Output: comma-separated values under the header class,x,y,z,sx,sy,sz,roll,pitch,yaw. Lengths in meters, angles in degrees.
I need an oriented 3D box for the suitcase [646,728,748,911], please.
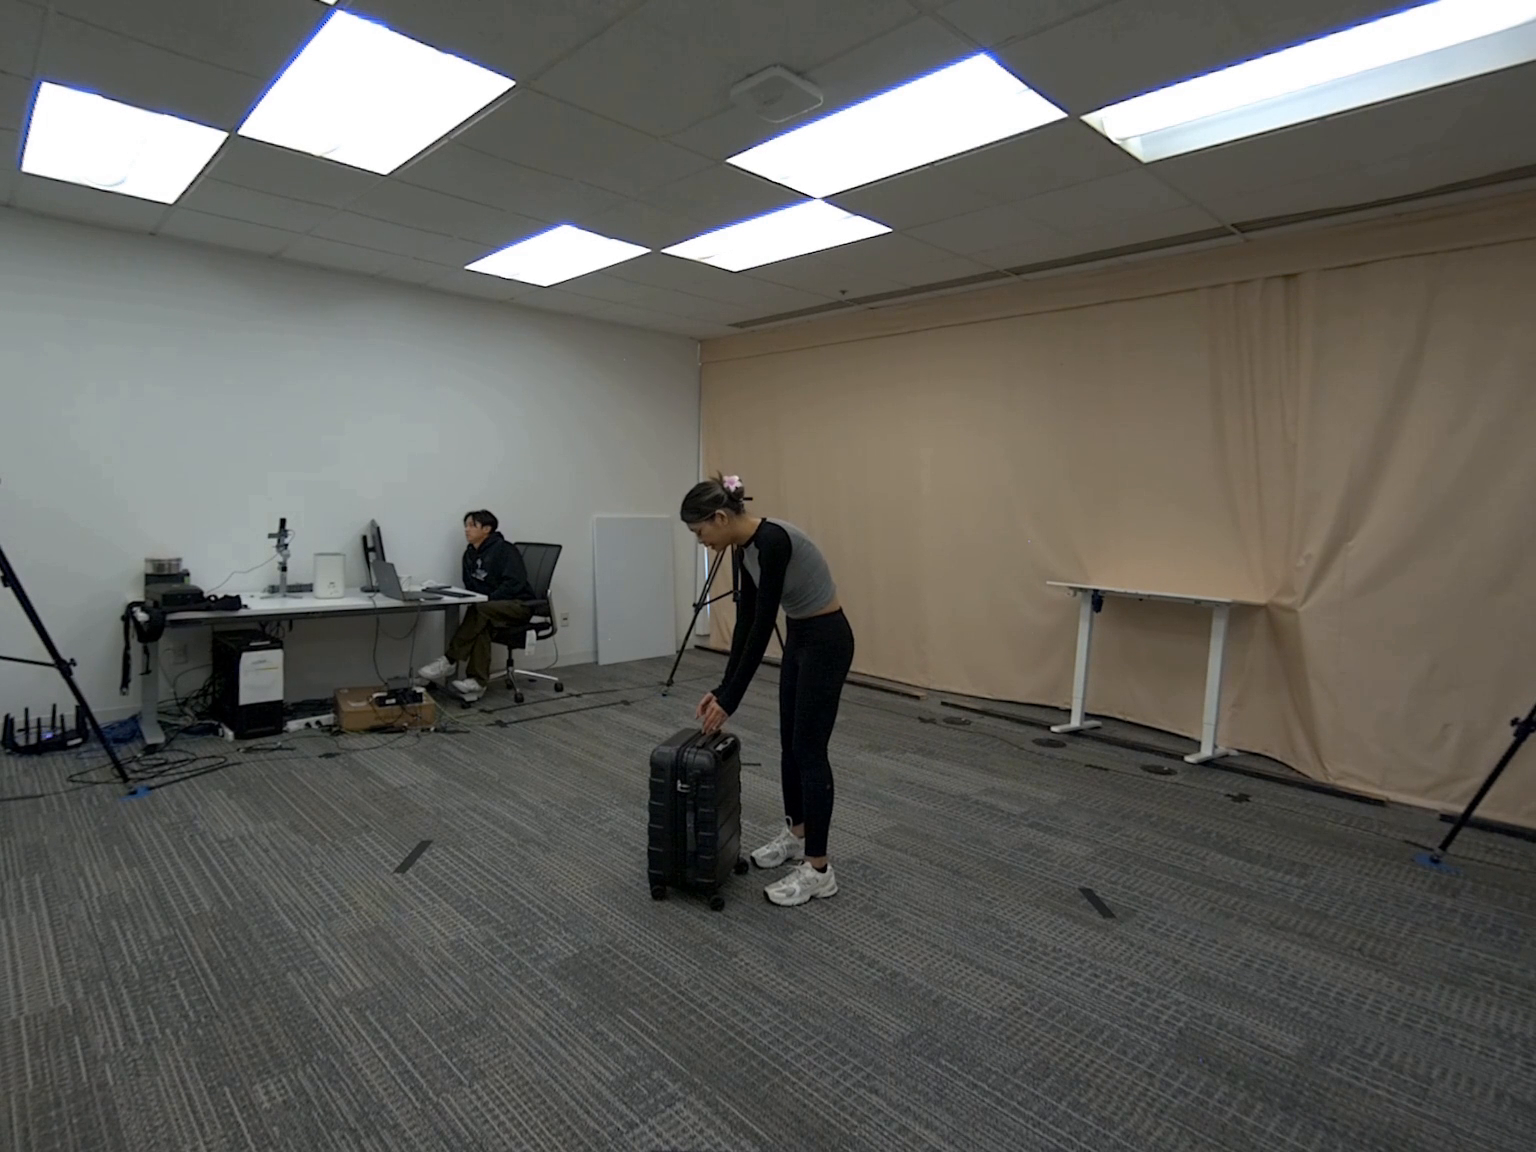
class,x,y,z,sx,sy,sz,roll,pitch,yaw
suitcase,-0.262,0.839,3.004,0.252,0.548,0.371,1,4,18
